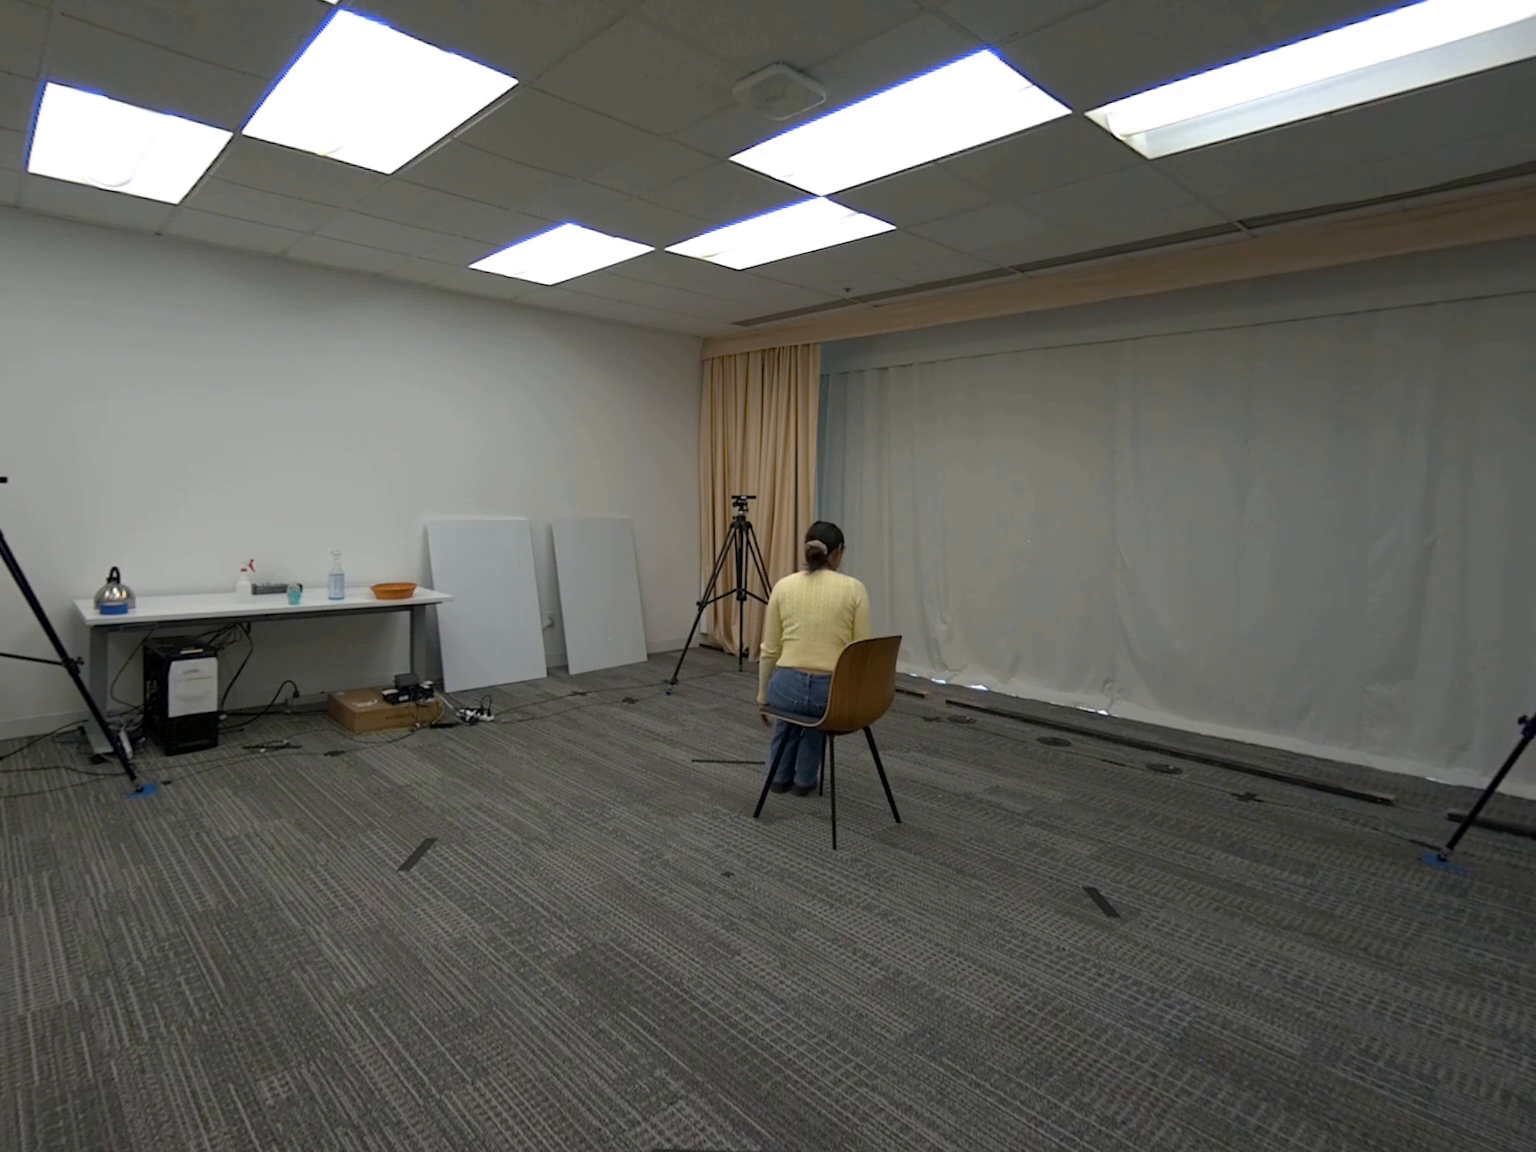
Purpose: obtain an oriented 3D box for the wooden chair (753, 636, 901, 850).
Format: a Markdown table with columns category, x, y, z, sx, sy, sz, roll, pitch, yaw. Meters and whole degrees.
| category | x | y | z | sx | sy | sz | roll | pitch | yaw |
| --- | --- | --- | --- | --- | --- | --- | --- | --- | --- |
| wooden chair | 0.246 | 0.638 | 3.633 | 0.467 | 0.874 | 0.537 | -2 | 8 | -45 |
